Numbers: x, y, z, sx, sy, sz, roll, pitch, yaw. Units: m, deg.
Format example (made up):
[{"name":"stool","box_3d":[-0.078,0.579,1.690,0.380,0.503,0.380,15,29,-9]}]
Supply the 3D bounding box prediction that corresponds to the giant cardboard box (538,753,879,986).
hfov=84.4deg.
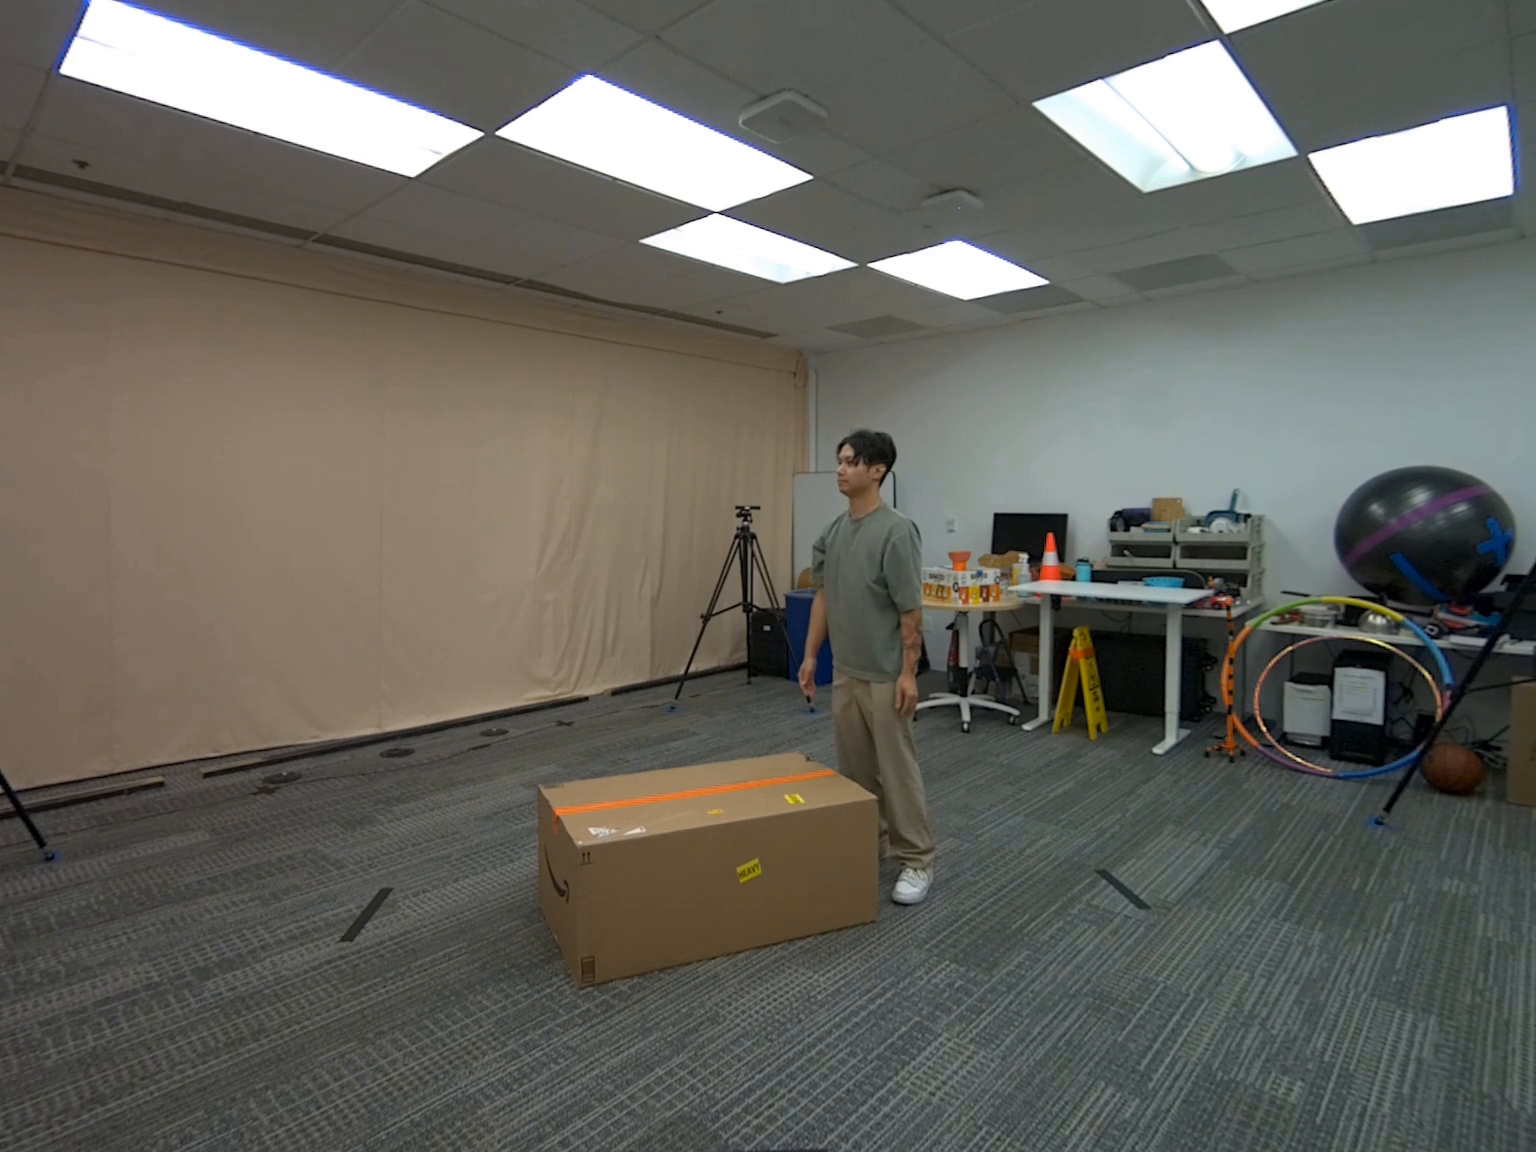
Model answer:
[{"name":"giant cardboard box","box_3d":[-0.217,0.941,2.869,1.002,0.425,0.592,-2,4,-24]}]
